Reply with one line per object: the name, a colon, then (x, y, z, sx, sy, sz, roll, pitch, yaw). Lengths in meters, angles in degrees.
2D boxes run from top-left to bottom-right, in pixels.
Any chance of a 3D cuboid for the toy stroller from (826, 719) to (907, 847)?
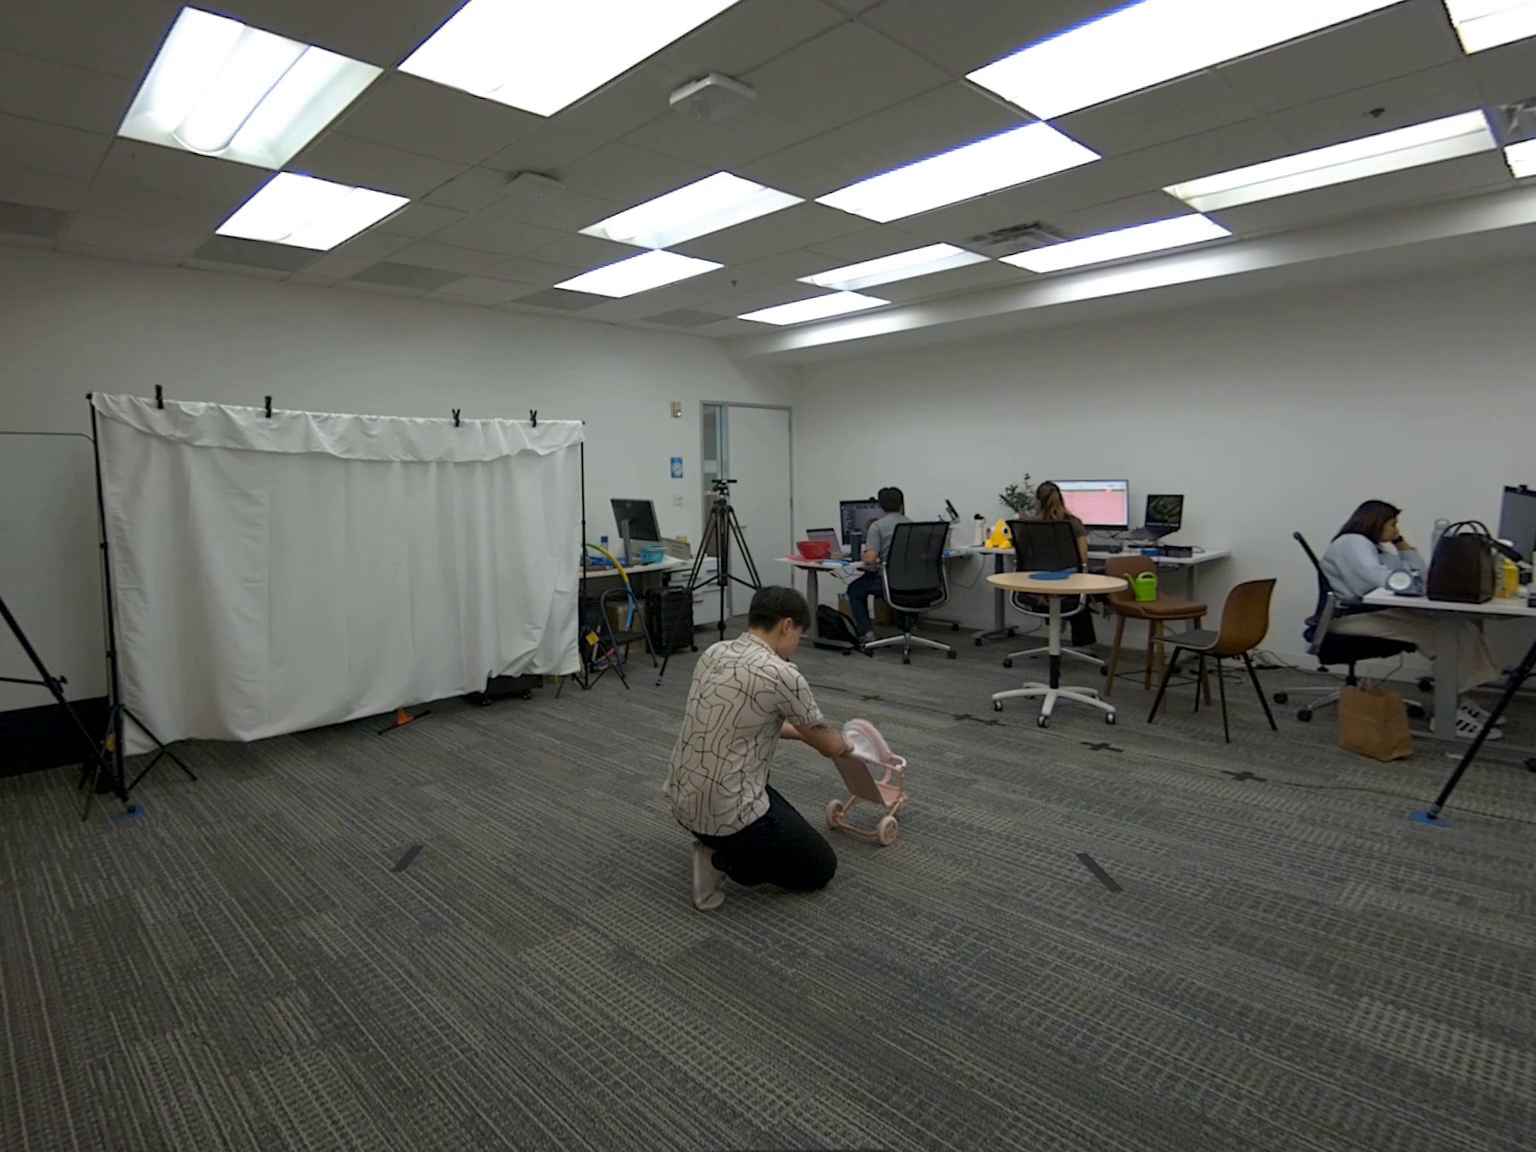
toy stroller: (0.394, 0.787, 3.359, 0.290, 0.524, 0.337, 5, 28, 47)
